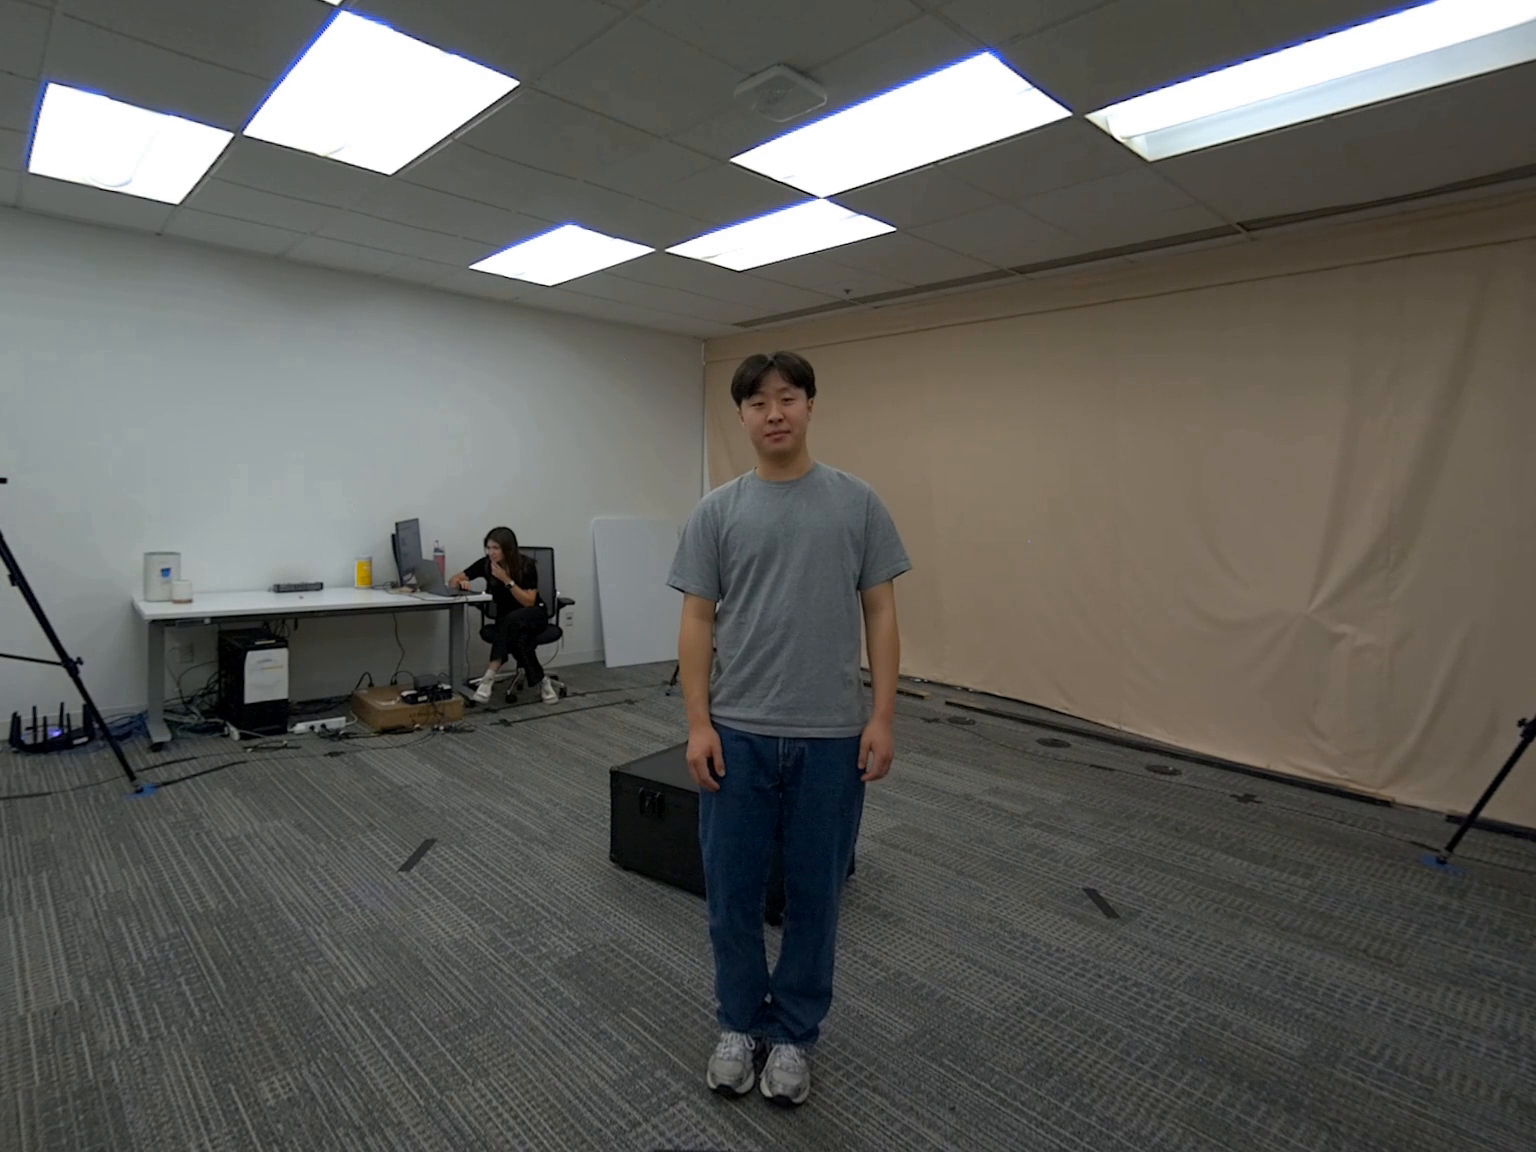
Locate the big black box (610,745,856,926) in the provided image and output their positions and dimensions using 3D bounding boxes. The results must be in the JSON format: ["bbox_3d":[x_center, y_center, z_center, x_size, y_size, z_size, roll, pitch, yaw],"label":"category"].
[{"bbox_3d":[-0.164,0.912,3.134,0.882,0.395,0.510,5,6,34],"label":"big black box"}]
